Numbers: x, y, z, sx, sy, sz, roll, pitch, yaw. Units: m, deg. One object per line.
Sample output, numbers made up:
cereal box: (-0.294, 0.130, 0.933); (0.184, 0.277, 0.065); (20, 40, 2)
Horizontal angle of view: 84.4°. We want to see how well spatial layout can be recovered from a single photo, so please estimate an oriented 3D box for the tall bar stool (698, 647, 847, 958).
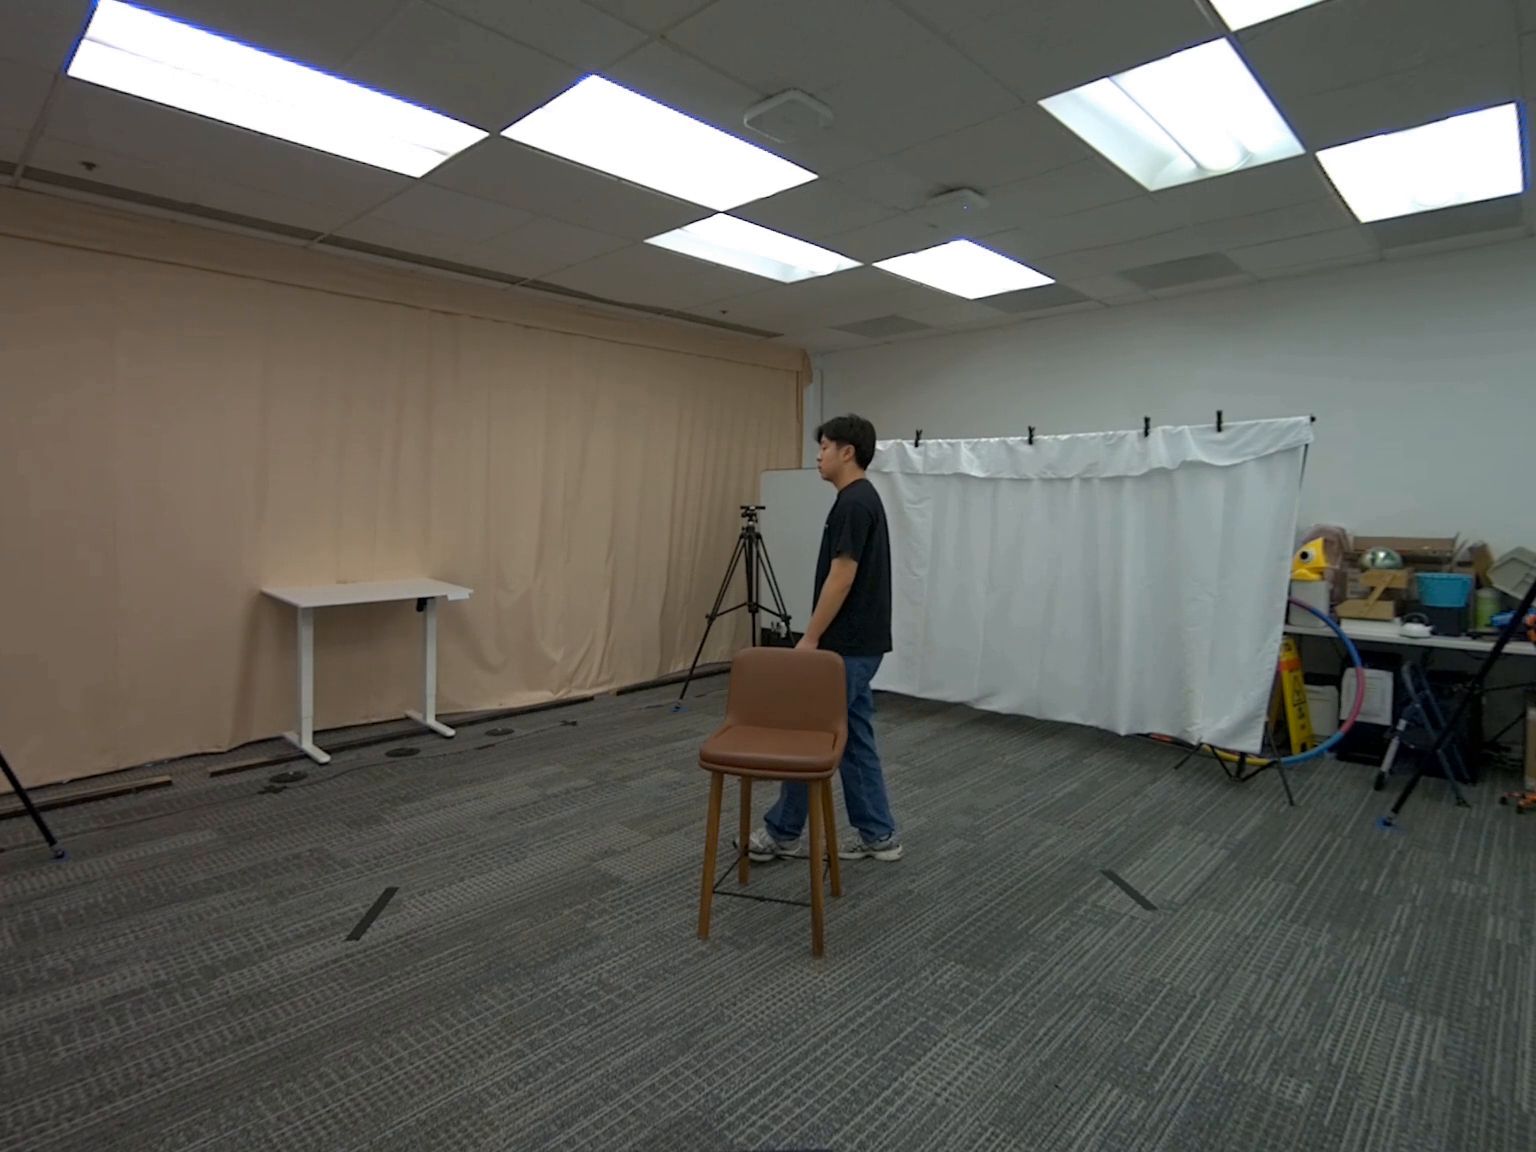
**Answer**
tall bar stool: (0.032, 0.721, 2.843); (0.465, 0.889, 0.459); (1, 2, 17)
